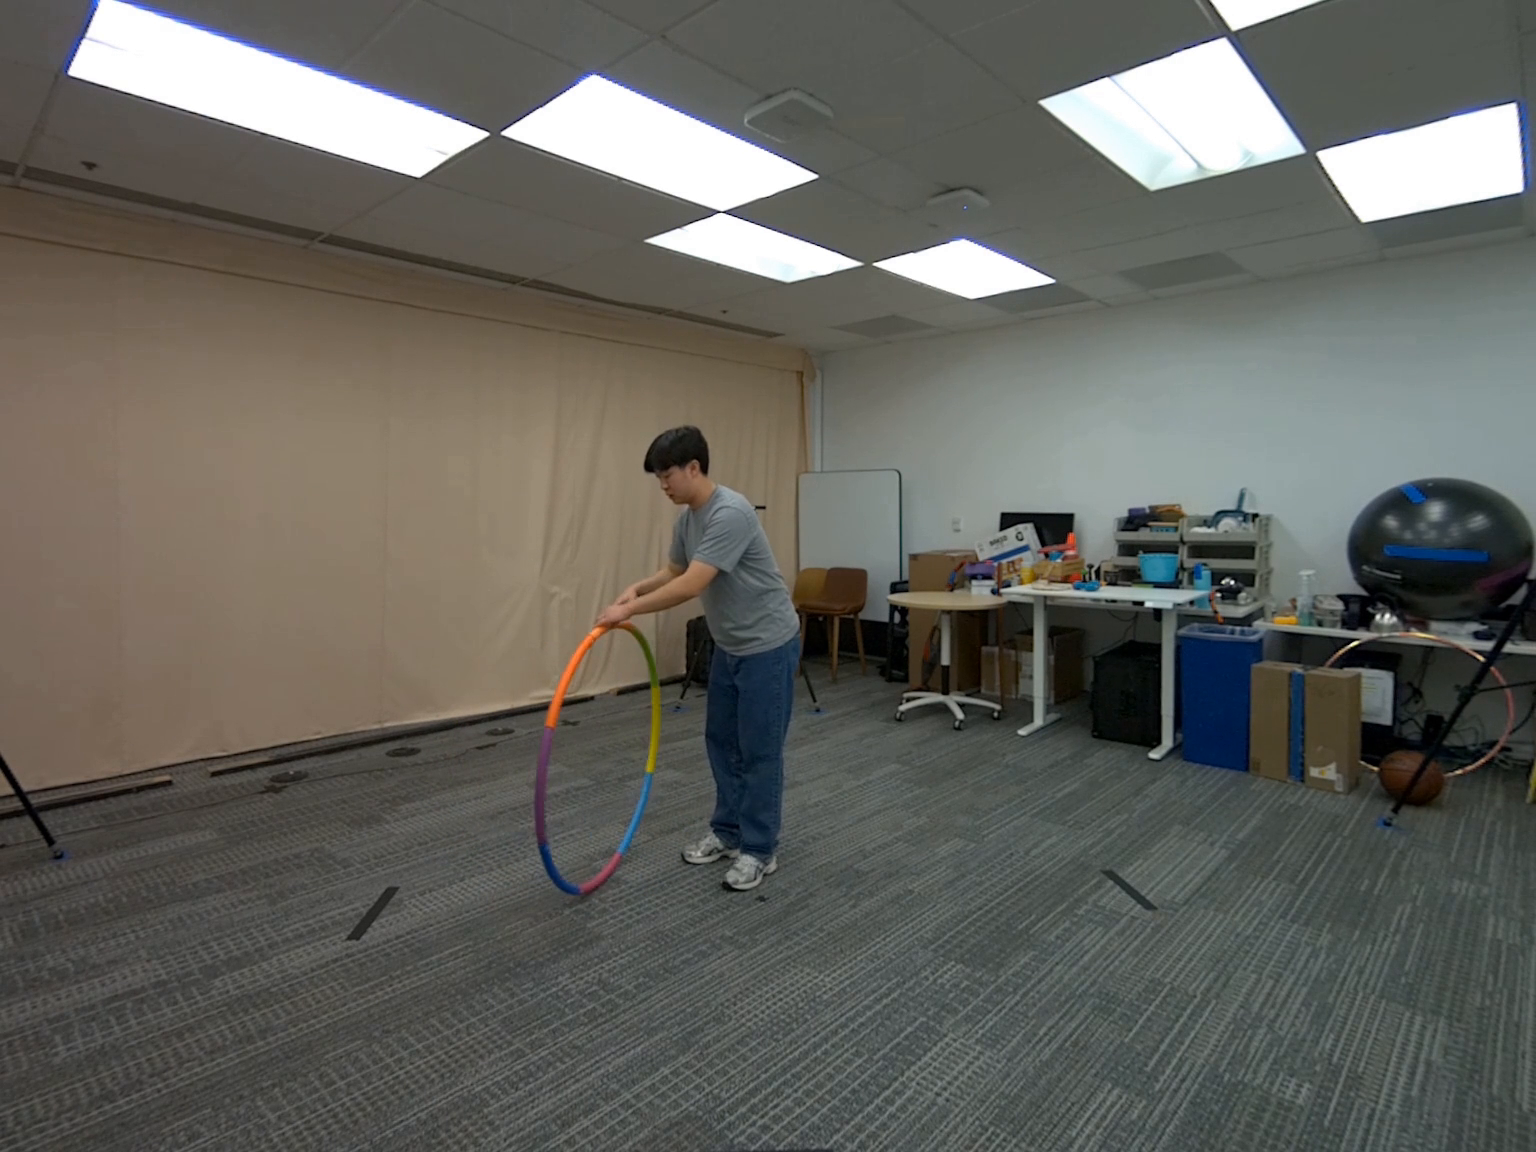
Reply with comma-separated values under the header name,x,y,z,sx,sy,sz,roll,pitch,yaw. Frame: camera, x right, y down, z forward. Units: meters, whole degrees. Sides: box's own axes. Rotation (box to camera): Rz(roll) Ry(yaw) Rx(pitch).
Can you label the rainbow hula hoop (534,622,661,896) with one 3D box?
name,x,y,z,sx,sy,sz,roll,pitch,yaw
rainbow hula hoop,-0.598,0.655,3.099,0.036,0.976,0.964,5,5,14
